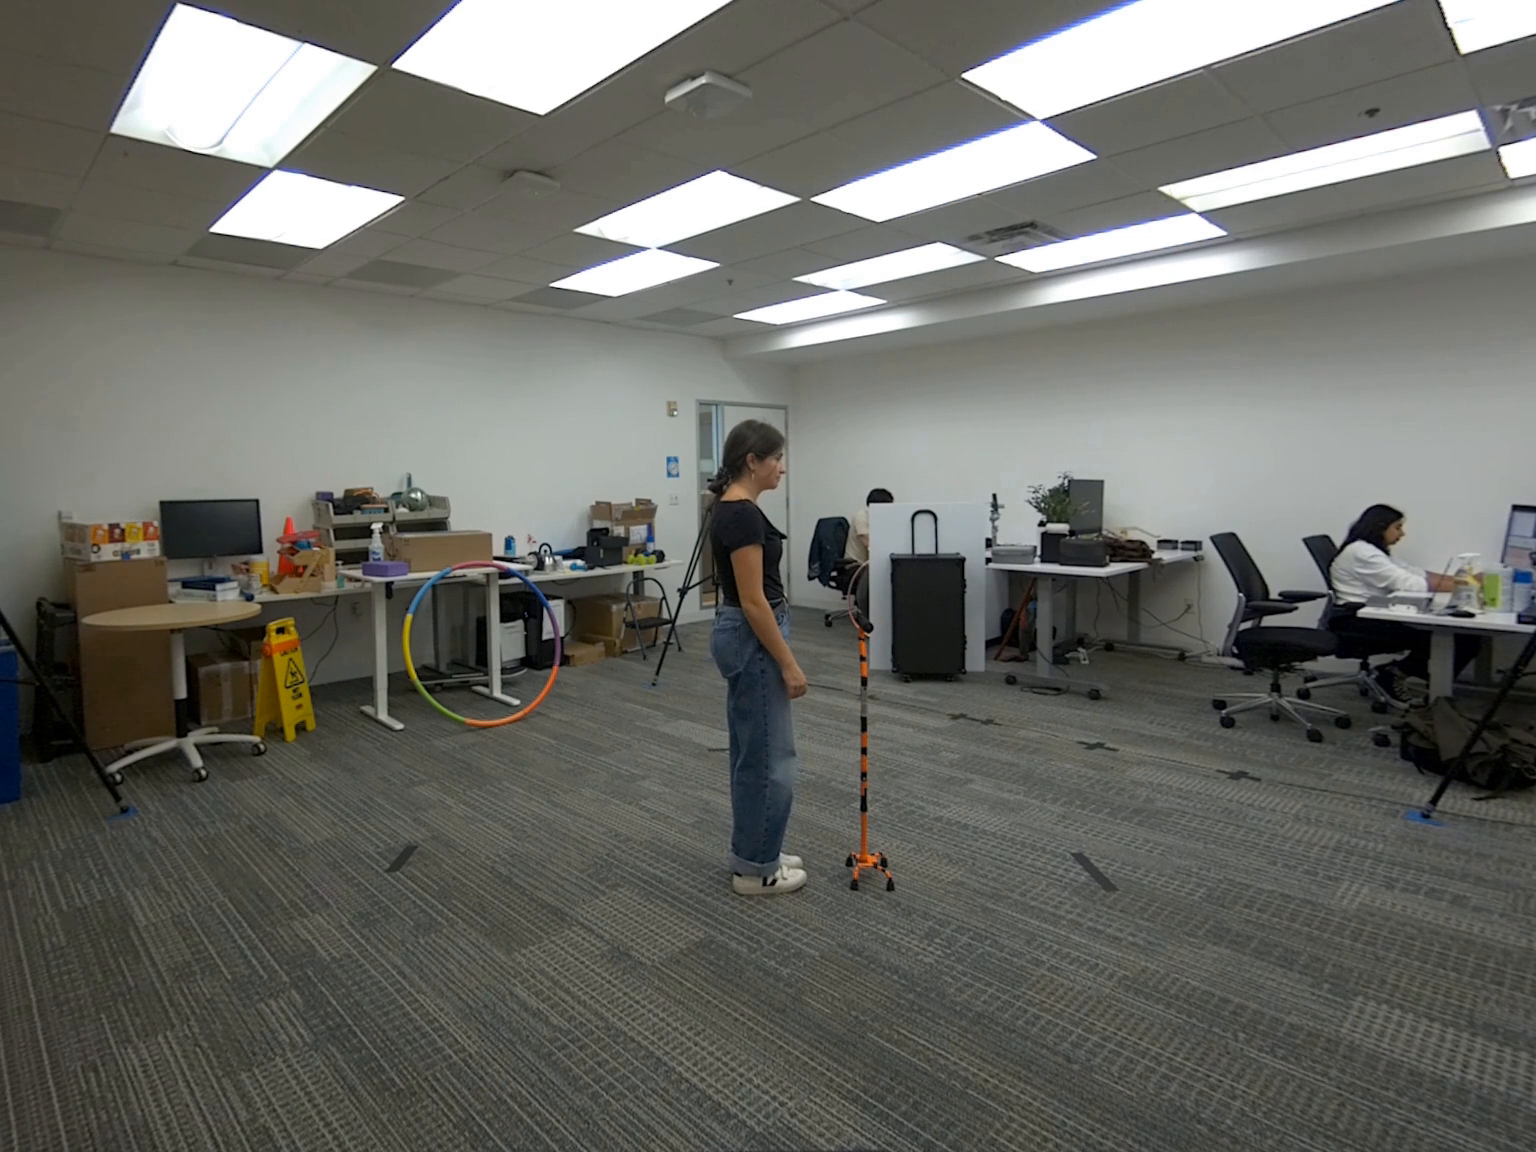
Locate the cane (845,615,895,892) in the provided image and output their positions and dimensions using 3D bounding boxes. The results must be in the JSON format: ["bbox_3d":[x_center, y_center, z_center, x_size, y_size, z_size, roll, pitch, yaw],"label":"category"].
[{"bbox_3d":[0.346,0.596,2.956,0.152,0.905,0.207,0,4,1],"label":"cane"}]
